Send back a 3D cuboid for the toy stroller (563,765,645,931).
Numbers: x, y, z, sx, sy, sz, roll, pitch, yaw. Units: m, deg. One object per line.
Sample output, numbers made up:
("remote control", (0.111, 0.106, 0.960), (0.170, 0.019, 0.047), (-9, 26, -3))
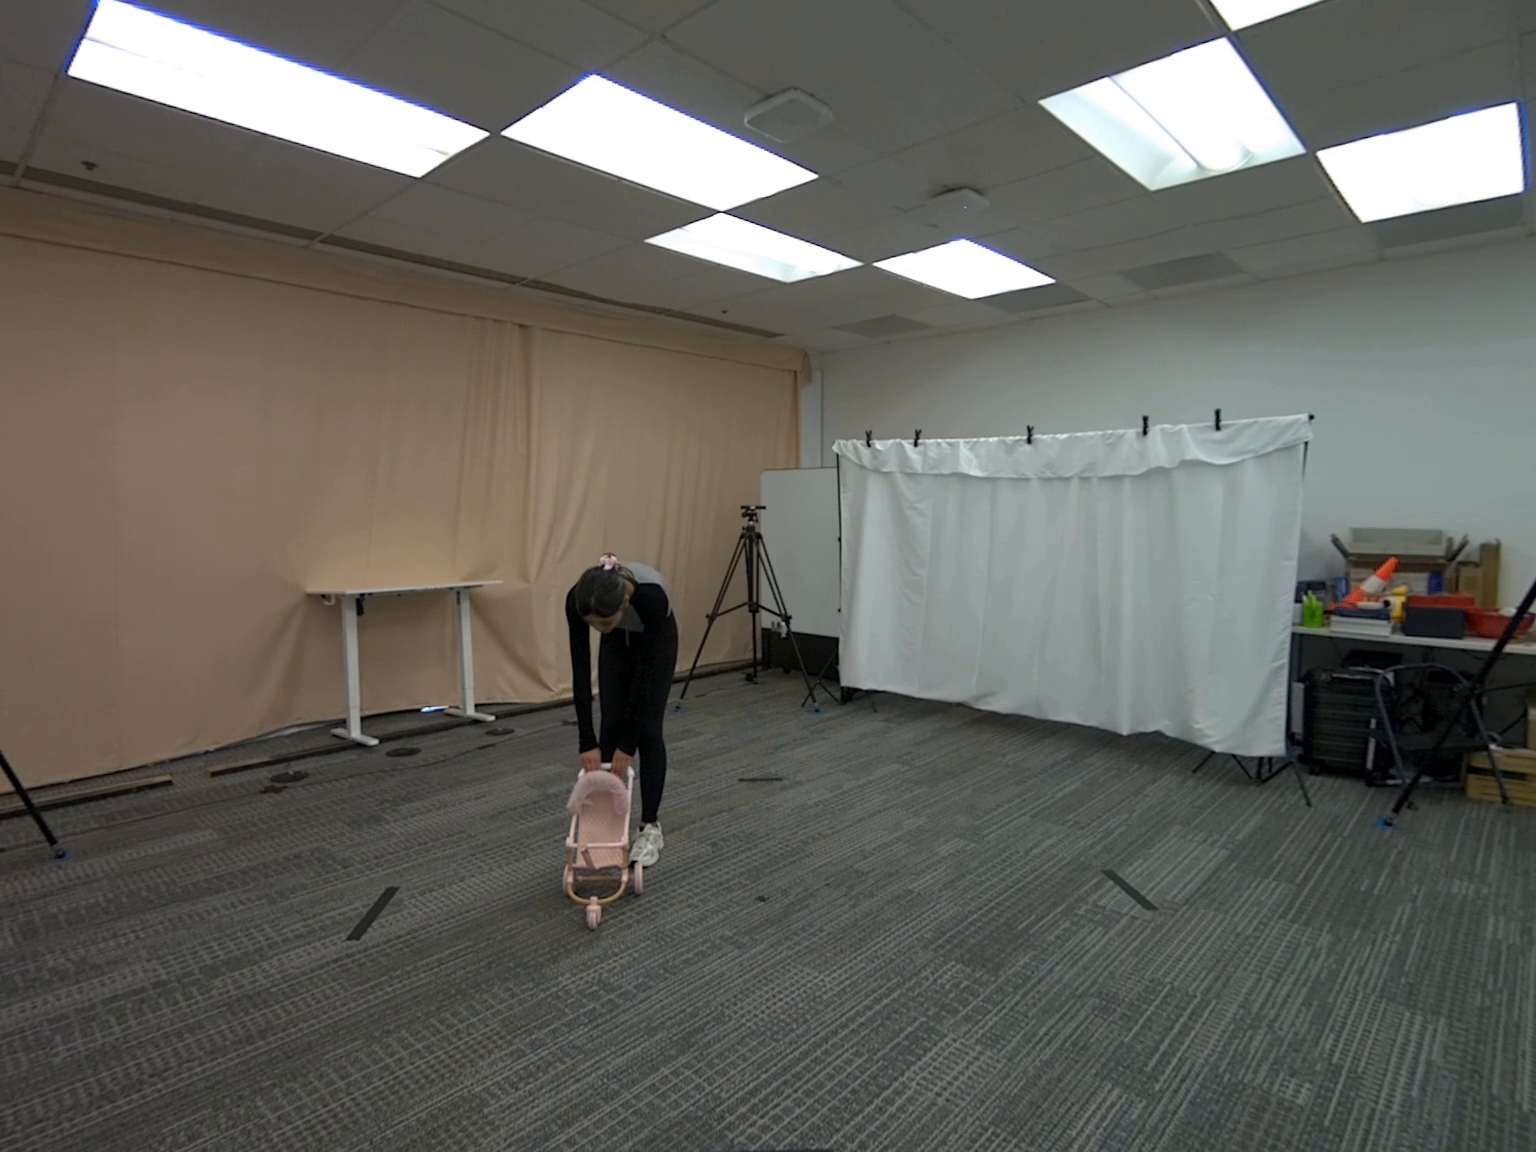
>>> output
("toy stroller", (-0.591, 0.925, 2.962), (0.282, 0.539, 0.337), (-1, -13, 2))
